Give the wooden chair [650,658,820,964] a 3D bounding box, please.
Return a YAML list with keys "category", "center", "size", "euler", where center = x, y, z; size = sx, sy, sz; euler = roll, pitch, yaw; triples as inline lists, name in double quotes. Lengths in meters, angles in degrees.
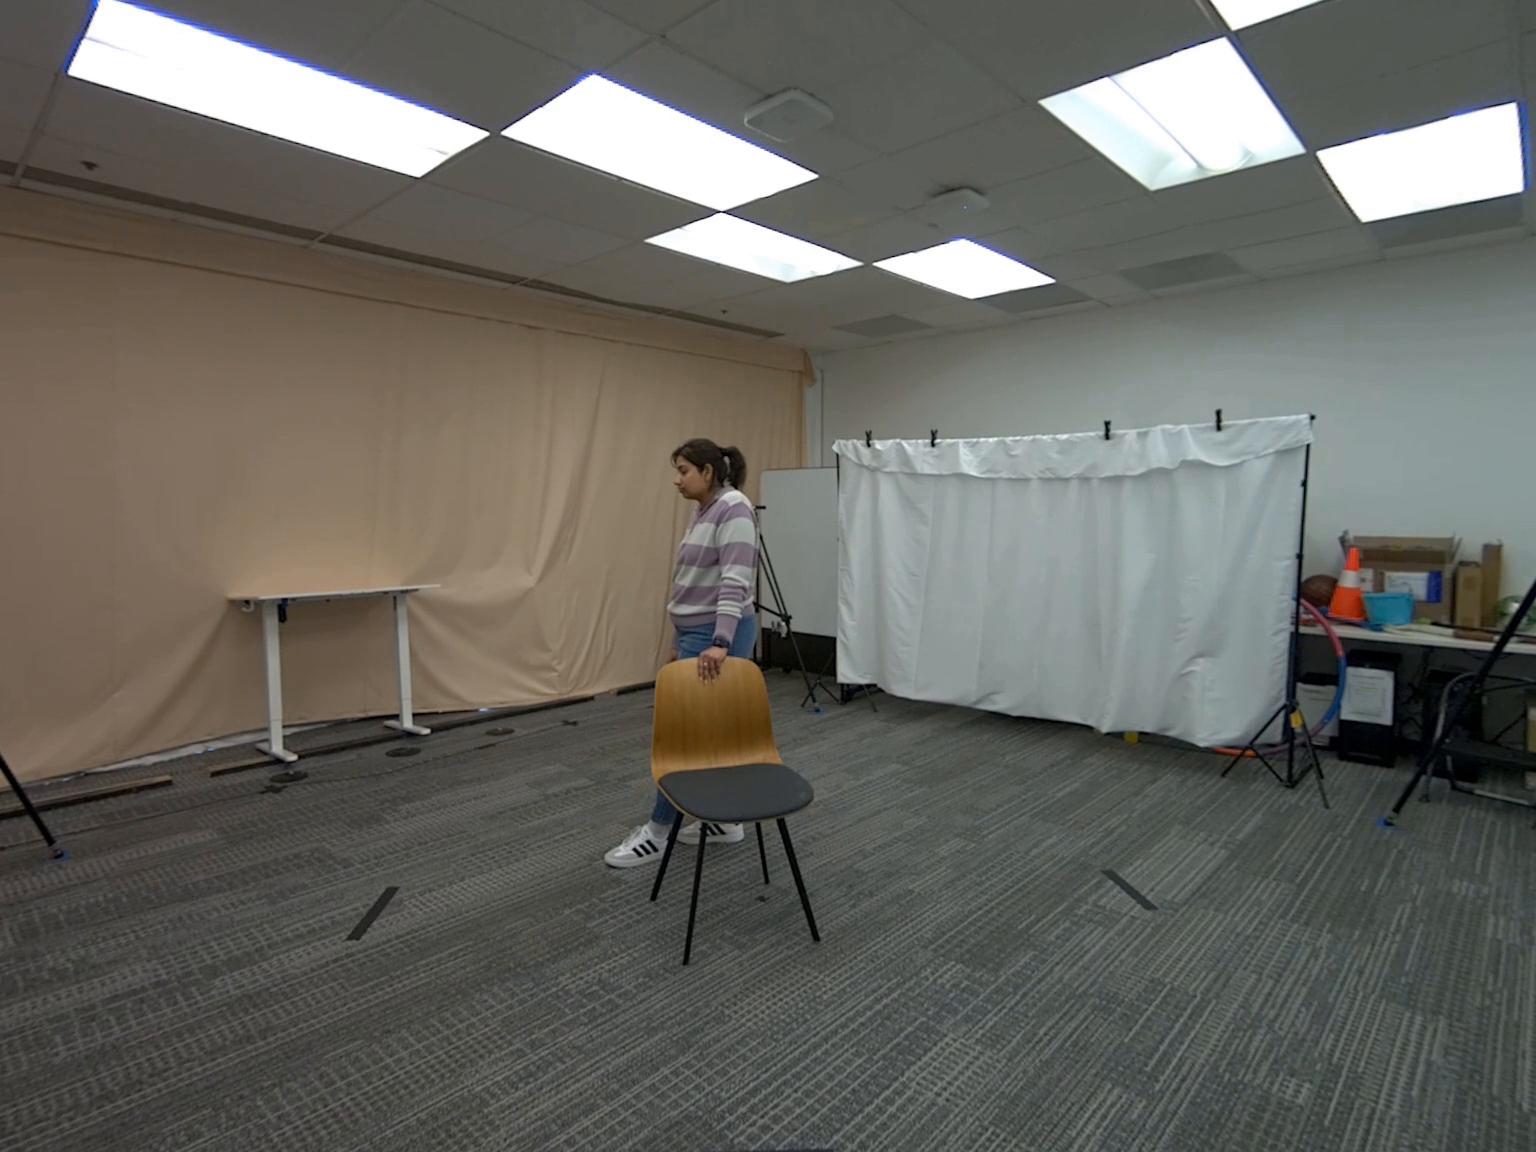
- category: "wooden chair"
  center: [-0.117, 0.731, 2.793]
  size: [0.469, 0.878, 0.533]
  euler: [-1, -1, -20]
